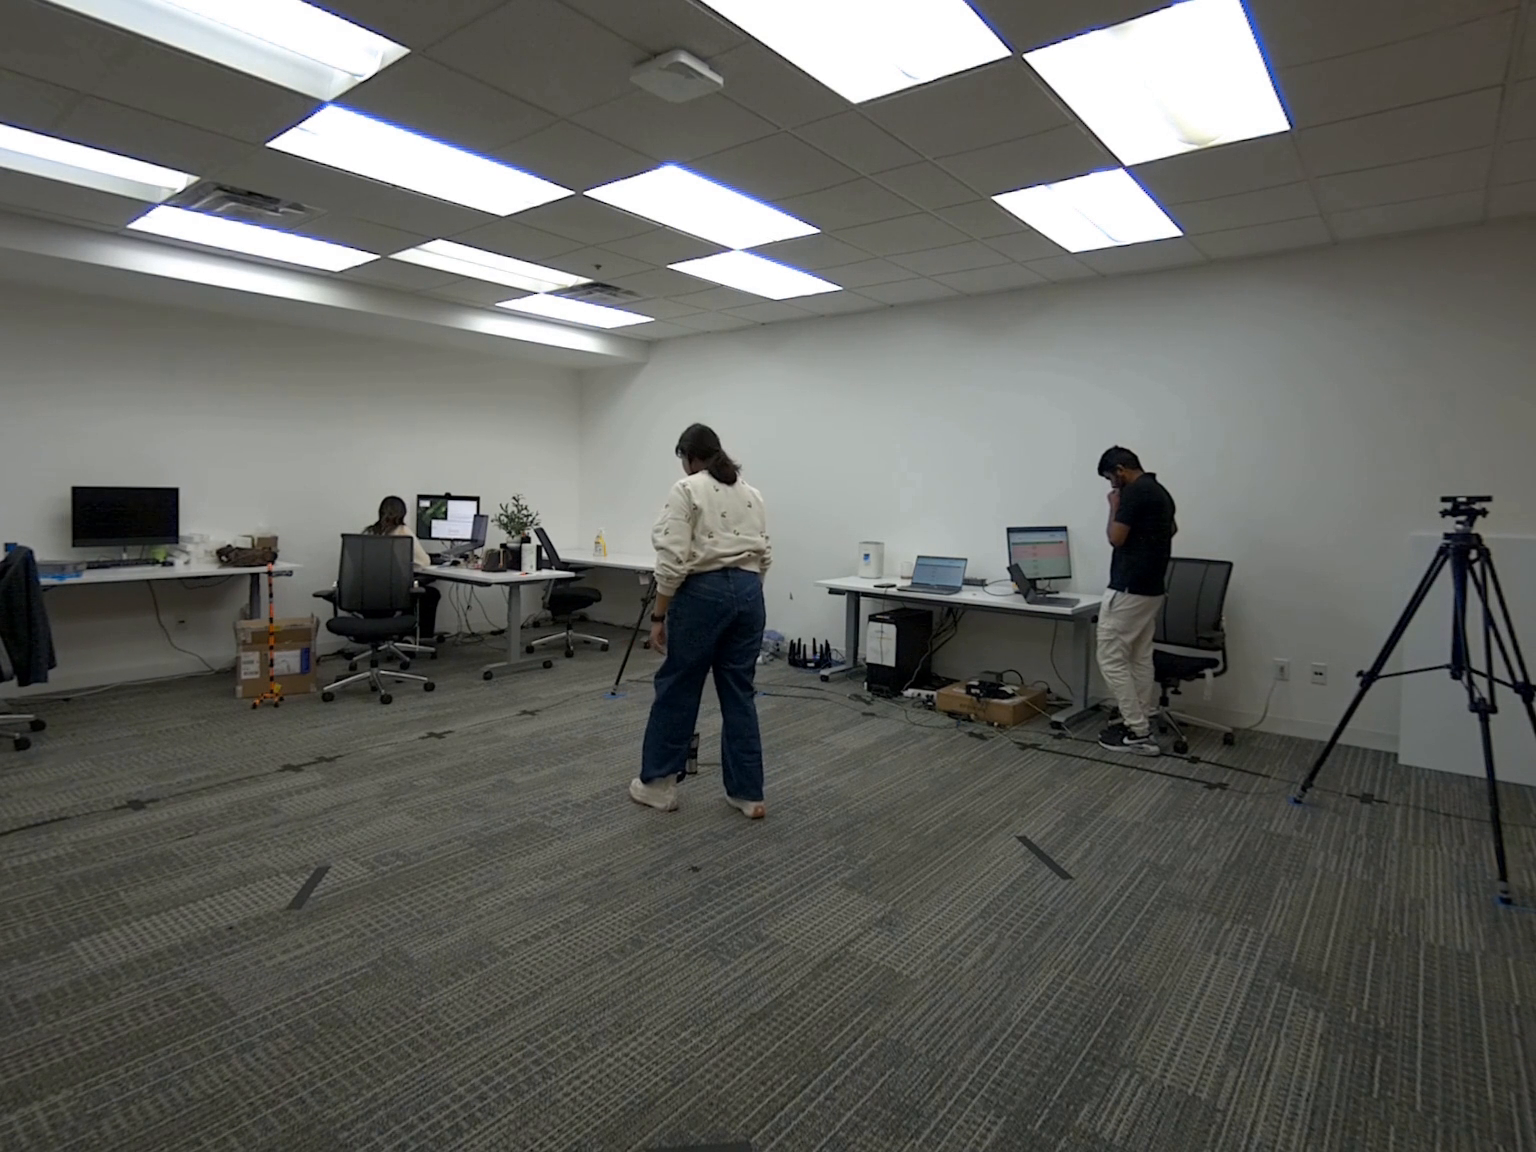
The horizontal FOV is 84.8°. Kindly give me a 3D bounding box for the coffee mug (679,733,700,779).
[{"bbox_3d":[-0.403,0.864,4.158,0.091,0.203,0.118,8,2,37],"label":"coffee mug"}]
